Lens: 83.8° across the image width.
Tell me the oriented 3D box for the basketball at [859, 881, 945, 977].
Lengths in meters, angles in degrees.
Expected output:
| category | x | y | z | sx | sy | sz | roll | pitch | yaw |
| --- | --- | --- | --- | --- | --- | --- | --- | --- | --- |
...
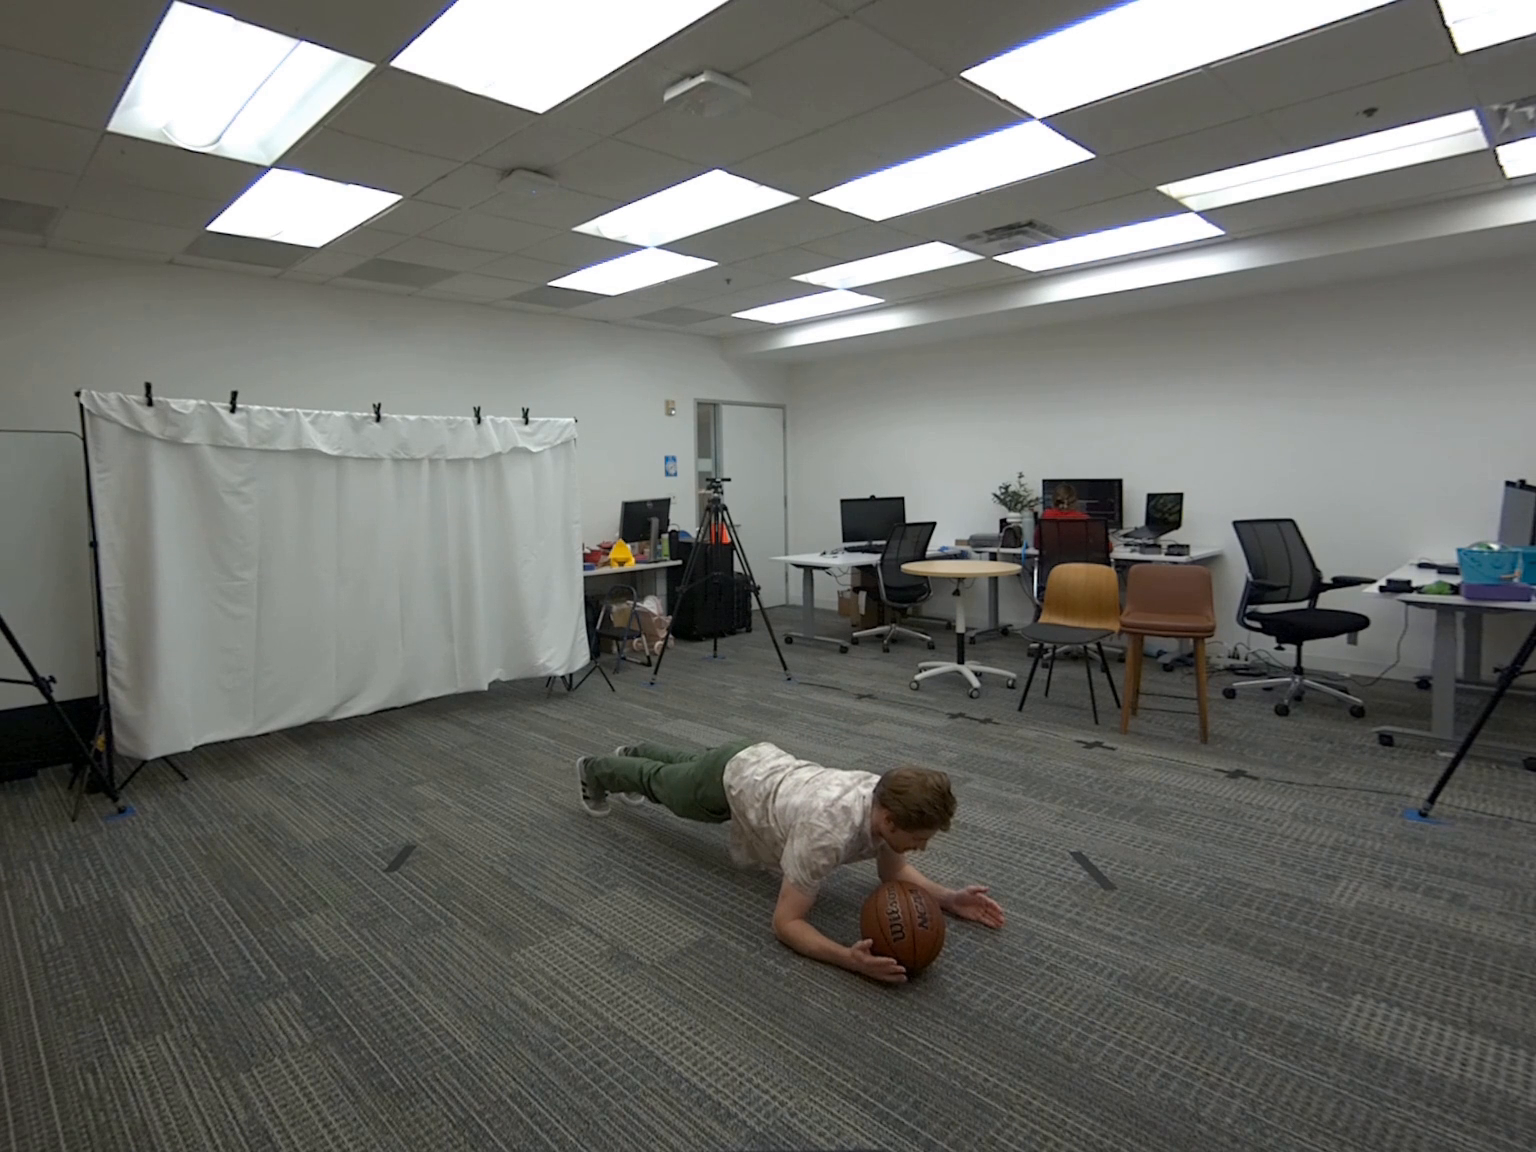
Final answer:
| category | x | y | z | sx | sy | sz | roll | pitch | yaw |
| --- | --- | --- | --- | --- | --- | --- | --- | --- | --- |
| basketball | 0.388 | 0.993 | 2.426 | 0.236 | 0.235 | 0.237 | -1 | 5 | -2 |
